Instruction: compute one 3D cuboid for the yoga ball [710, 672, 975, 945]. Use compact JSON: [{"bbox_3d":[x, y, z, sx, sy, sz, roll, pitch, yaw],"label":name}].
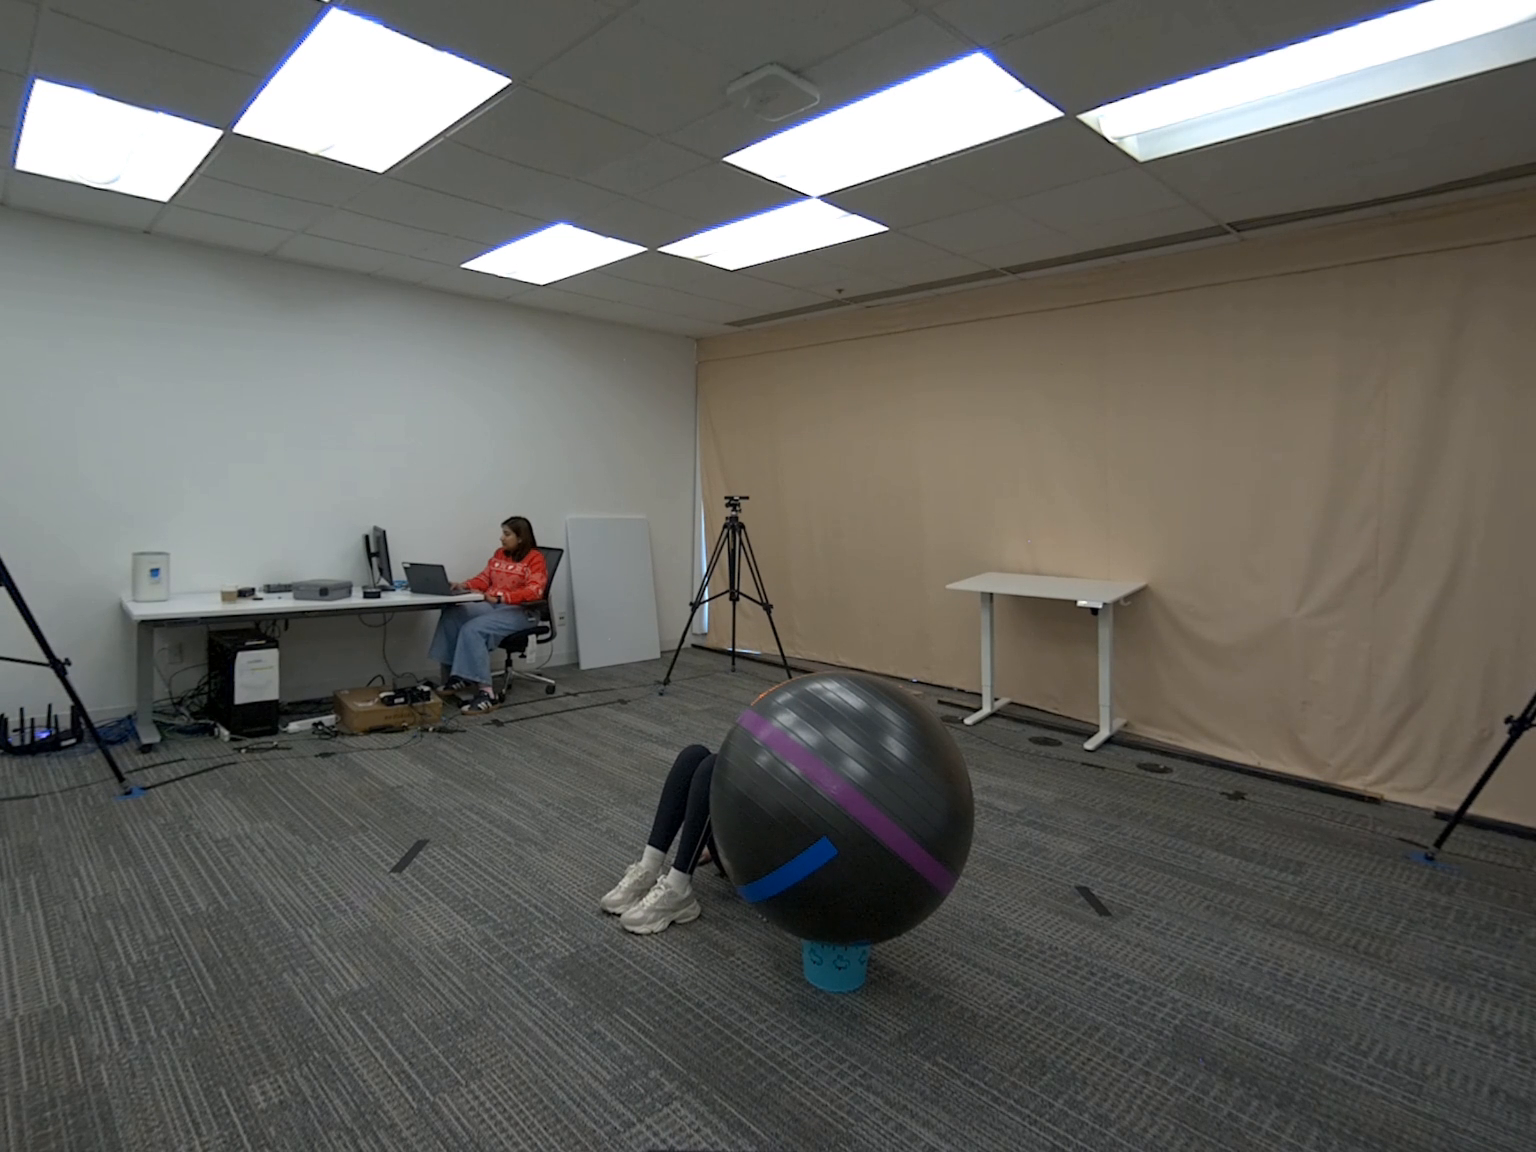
[{"bbox_3d":[0.211,0.665,2.445,0.757,0.754,0.762,0,7,-1],"label":"yoga ball"}]
